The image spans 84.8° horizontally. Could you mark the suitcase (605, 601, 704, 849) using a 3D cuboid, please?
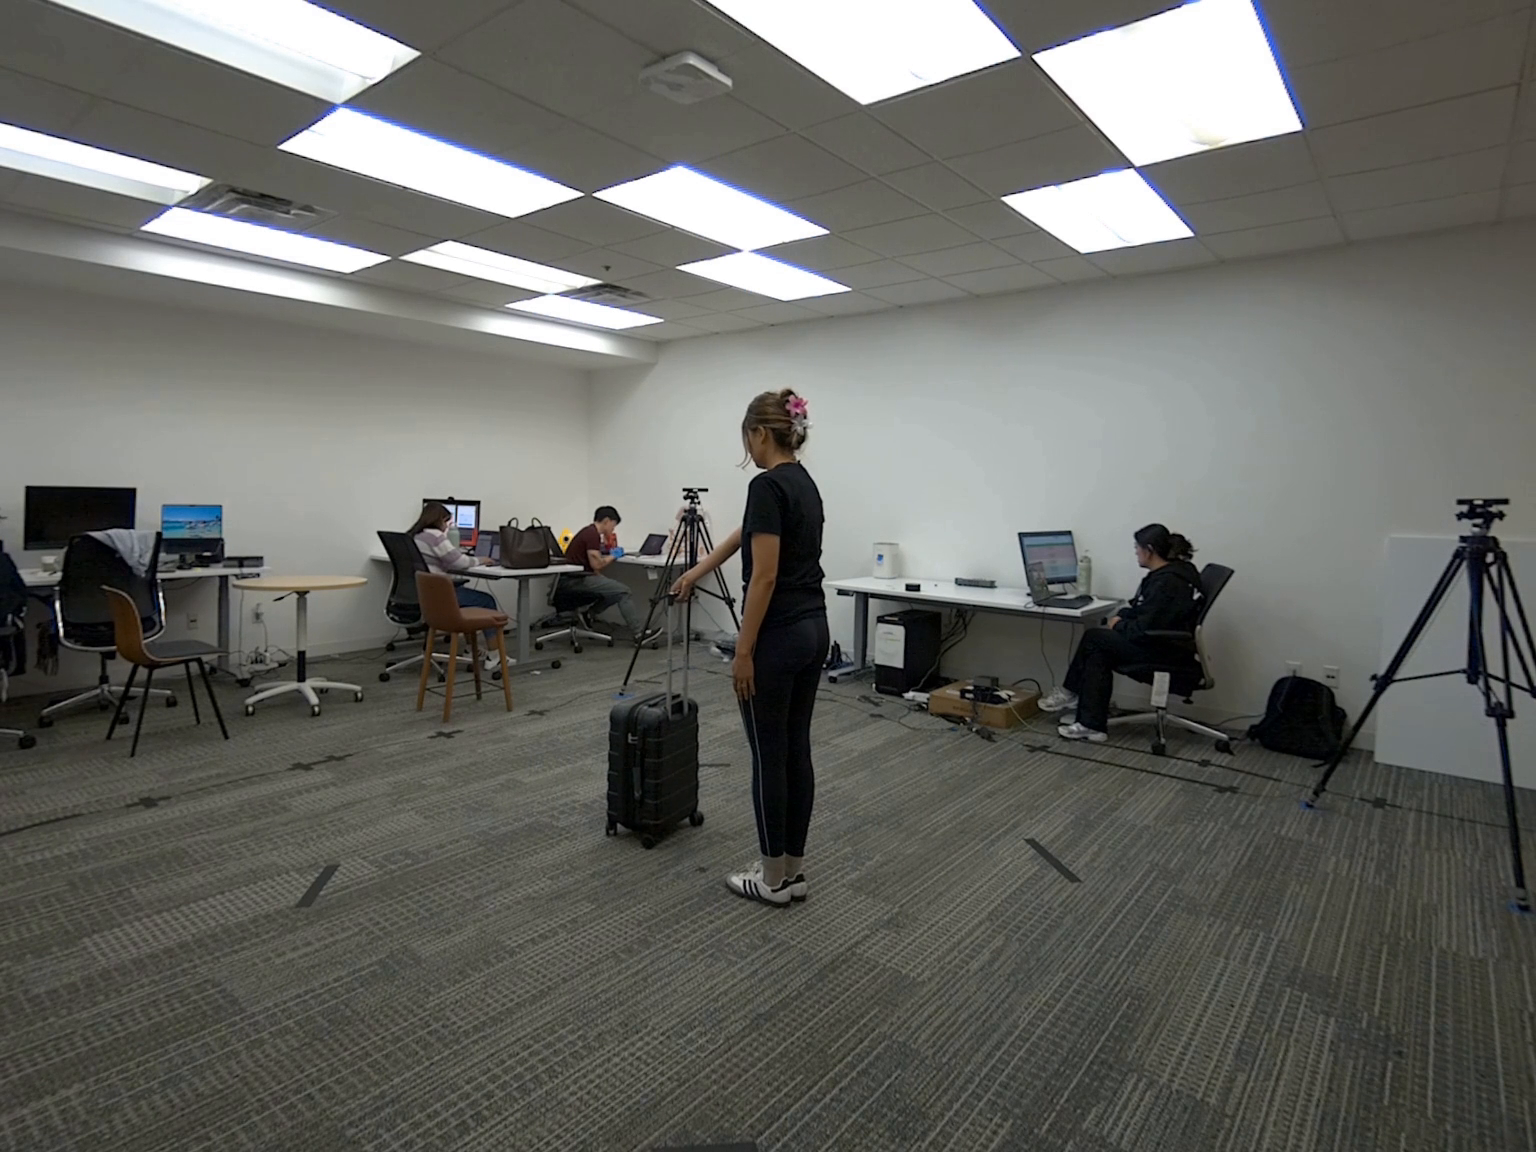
[{"bbox_3d":[-0.477,0.559,3.445,0.264,0.976,0.375,1,3,28],"label":"suitcase"}]
